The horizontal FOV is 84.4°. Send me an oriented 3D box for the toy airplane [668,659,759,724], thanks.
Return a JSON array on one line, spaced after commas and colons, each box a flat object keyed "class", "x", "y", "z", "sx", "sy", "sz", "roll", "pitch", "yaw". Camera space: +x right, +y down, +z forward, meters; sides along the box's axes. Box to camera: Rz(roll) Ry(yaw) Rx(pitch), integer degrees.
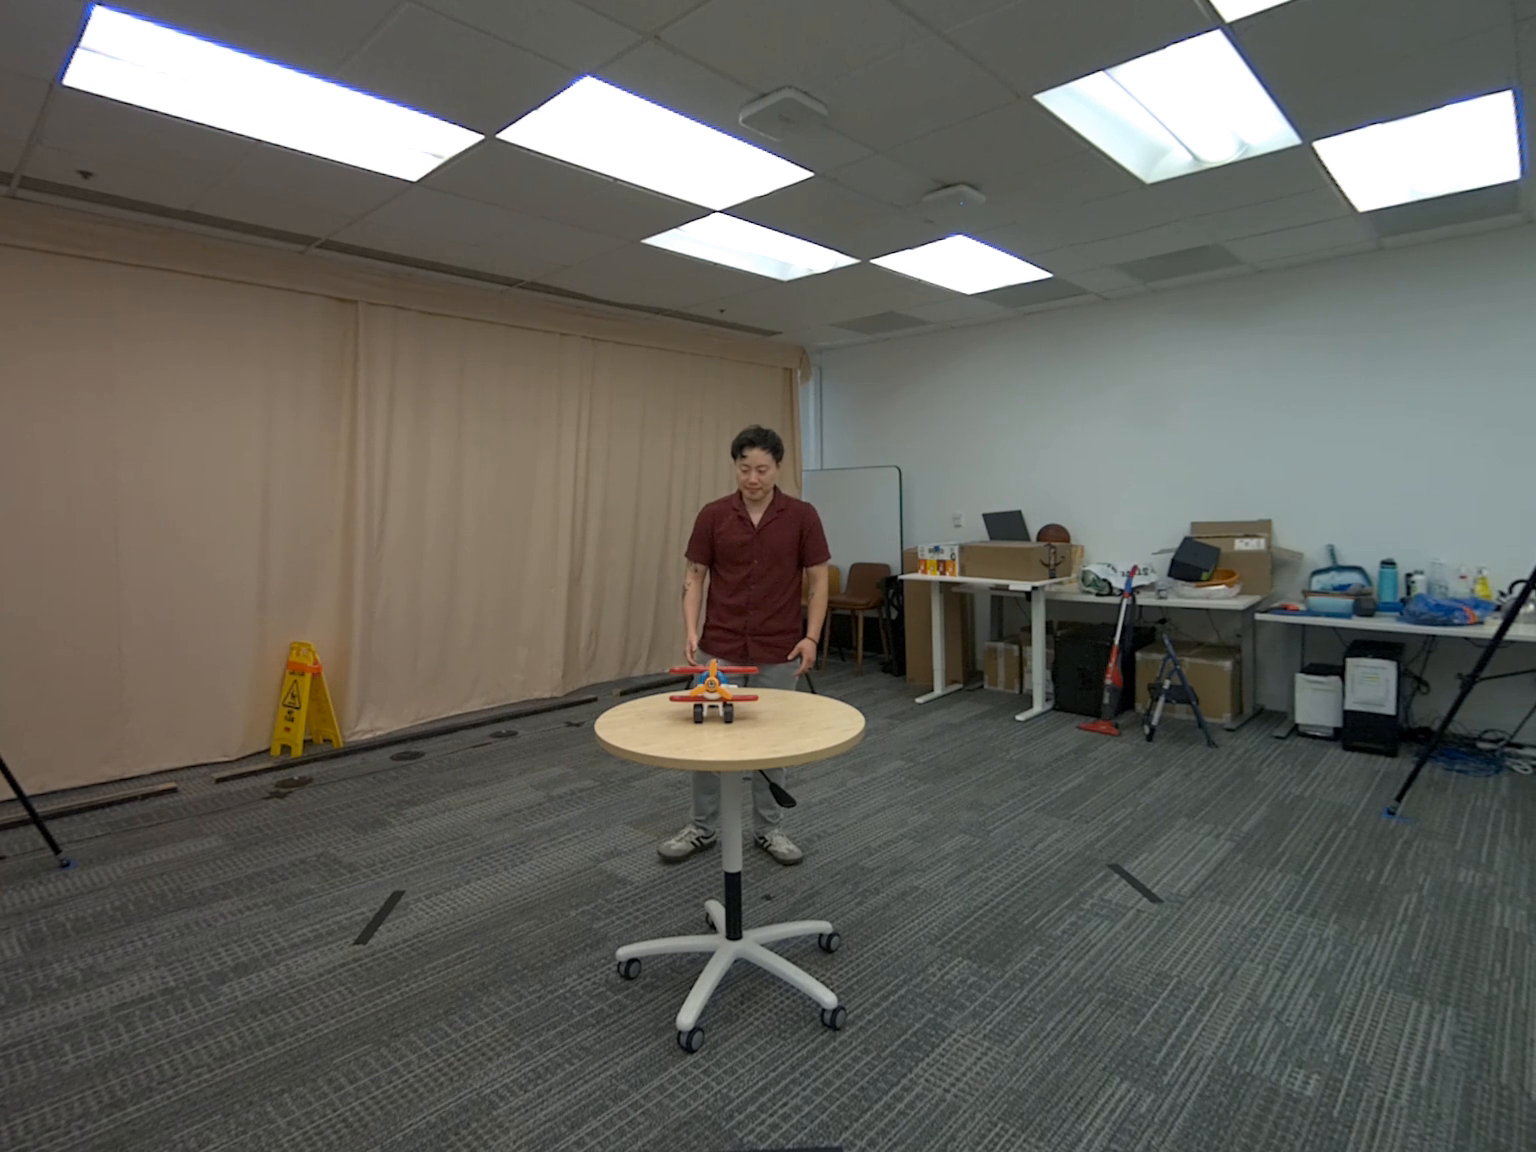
[{"class": "toy airplane", "x": -0.173, "y": 0.325, "z": 2.451, "sx": 0.244, "sy": 0.156, "sz": 0.267, "roll": -3, "pitch": 6, "yaw": -30}]
